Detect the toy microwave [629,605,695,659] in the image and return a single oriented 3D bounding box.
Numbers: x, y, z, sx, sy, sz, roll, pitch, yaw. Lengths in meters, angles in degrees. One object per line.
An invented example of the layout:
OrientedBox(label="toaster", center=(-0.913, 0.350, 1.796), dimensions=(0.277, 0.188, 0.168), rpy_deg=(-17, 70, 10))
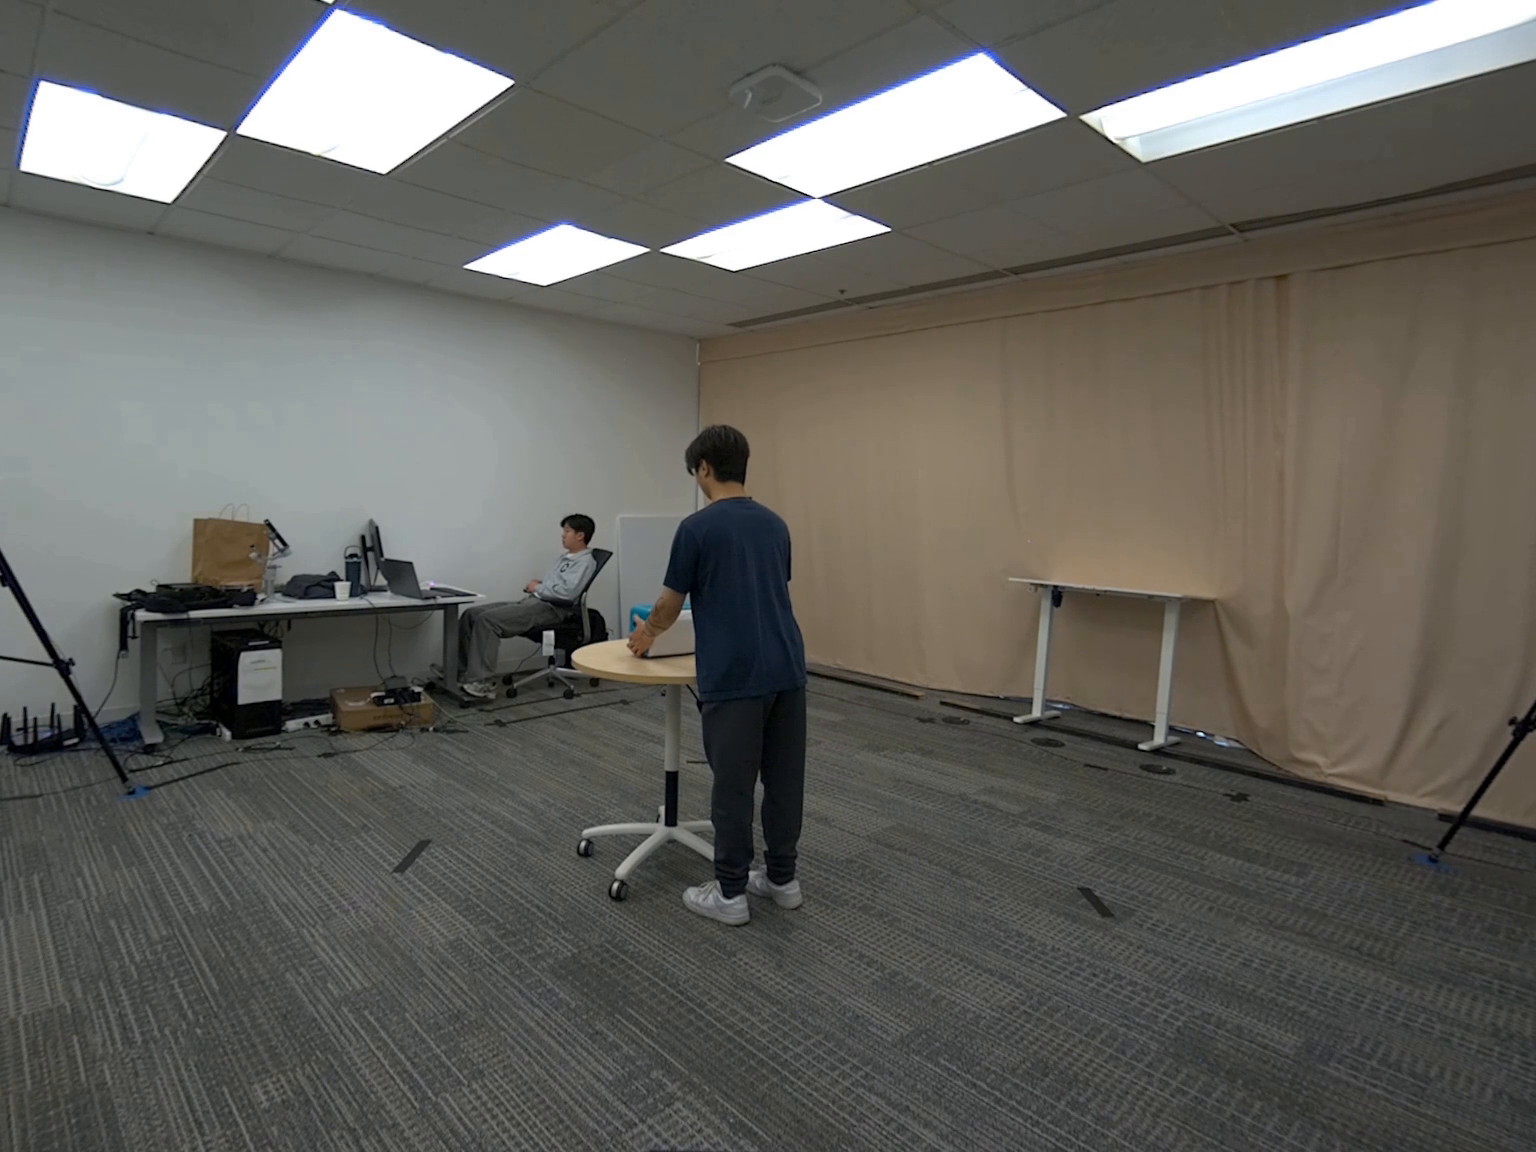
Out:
OrientedBox(label="toy microwave", center=(-0.379, 0.206, 3.183), dimensions=(0.280, 0.183, 0.156), rpy_deg=(-2, 5, -36))
